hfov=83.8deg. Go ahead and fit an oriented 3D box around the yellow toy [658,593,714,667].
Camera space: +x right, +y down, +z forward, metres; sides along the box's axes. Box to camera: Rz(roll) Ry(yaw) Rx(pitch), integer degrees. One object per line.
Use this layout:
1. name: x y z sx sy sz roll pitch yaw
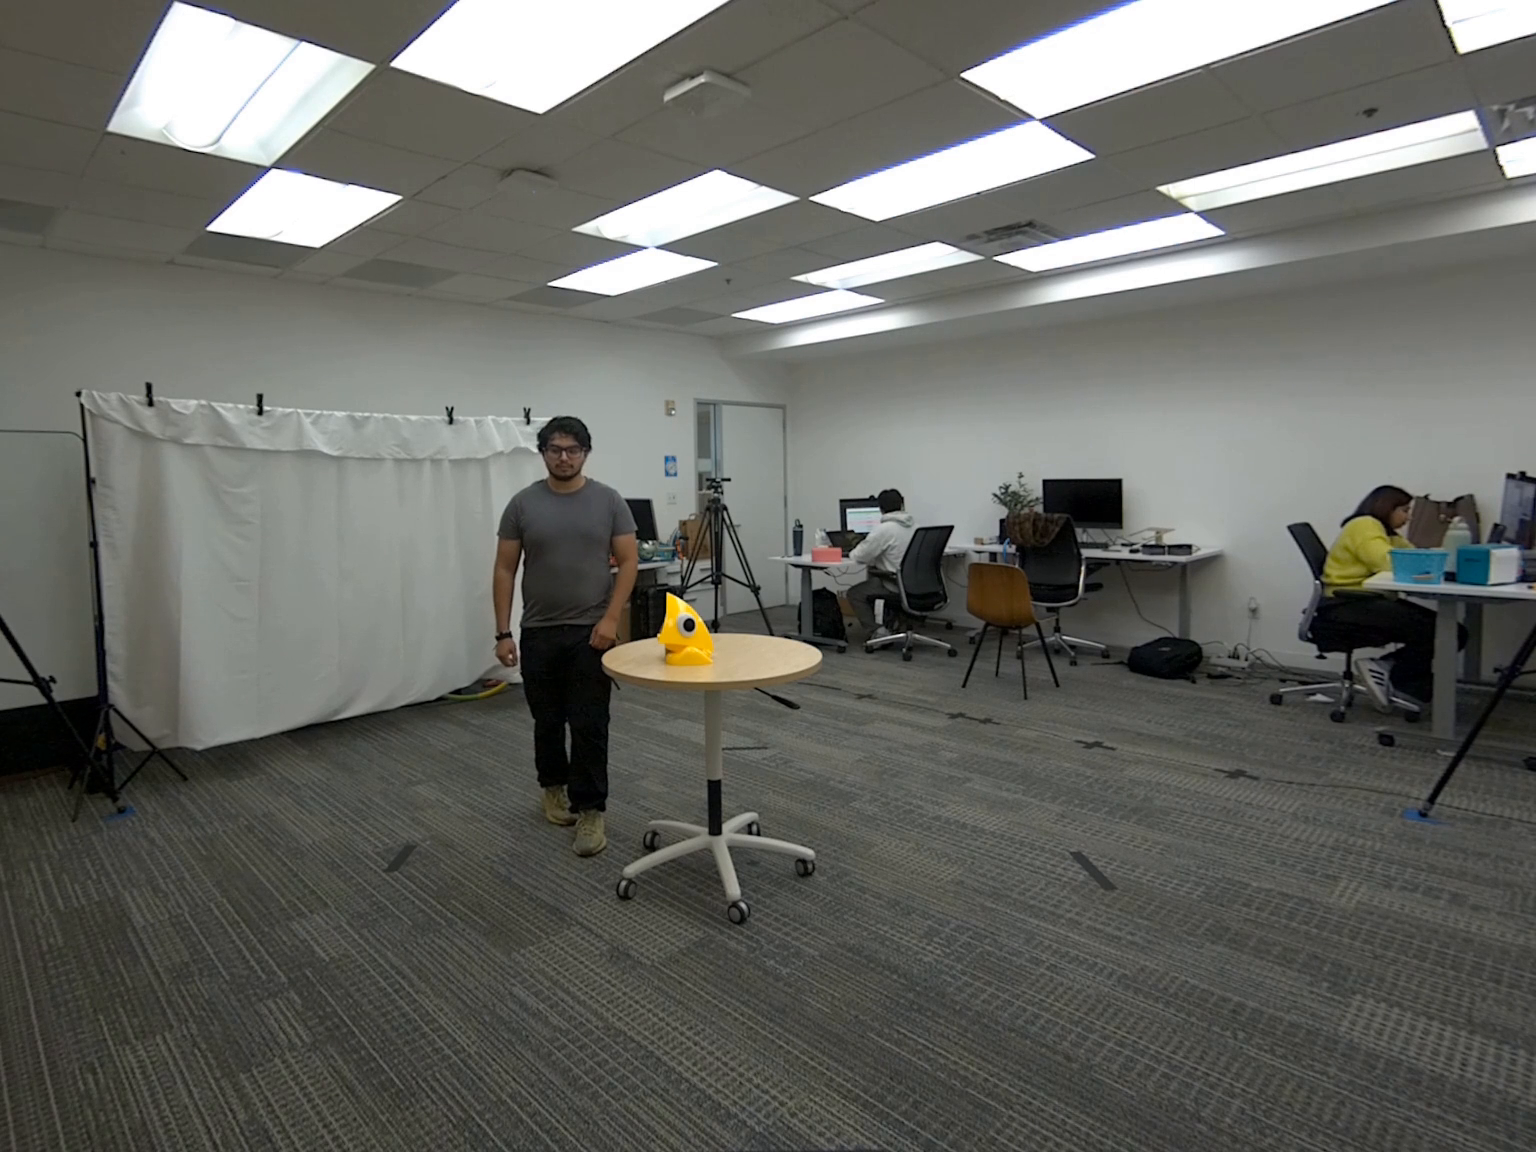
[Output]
1. yellow toy: -0.280 0.171 2.915 0.192 0.230 0.206 -1 5 -3
